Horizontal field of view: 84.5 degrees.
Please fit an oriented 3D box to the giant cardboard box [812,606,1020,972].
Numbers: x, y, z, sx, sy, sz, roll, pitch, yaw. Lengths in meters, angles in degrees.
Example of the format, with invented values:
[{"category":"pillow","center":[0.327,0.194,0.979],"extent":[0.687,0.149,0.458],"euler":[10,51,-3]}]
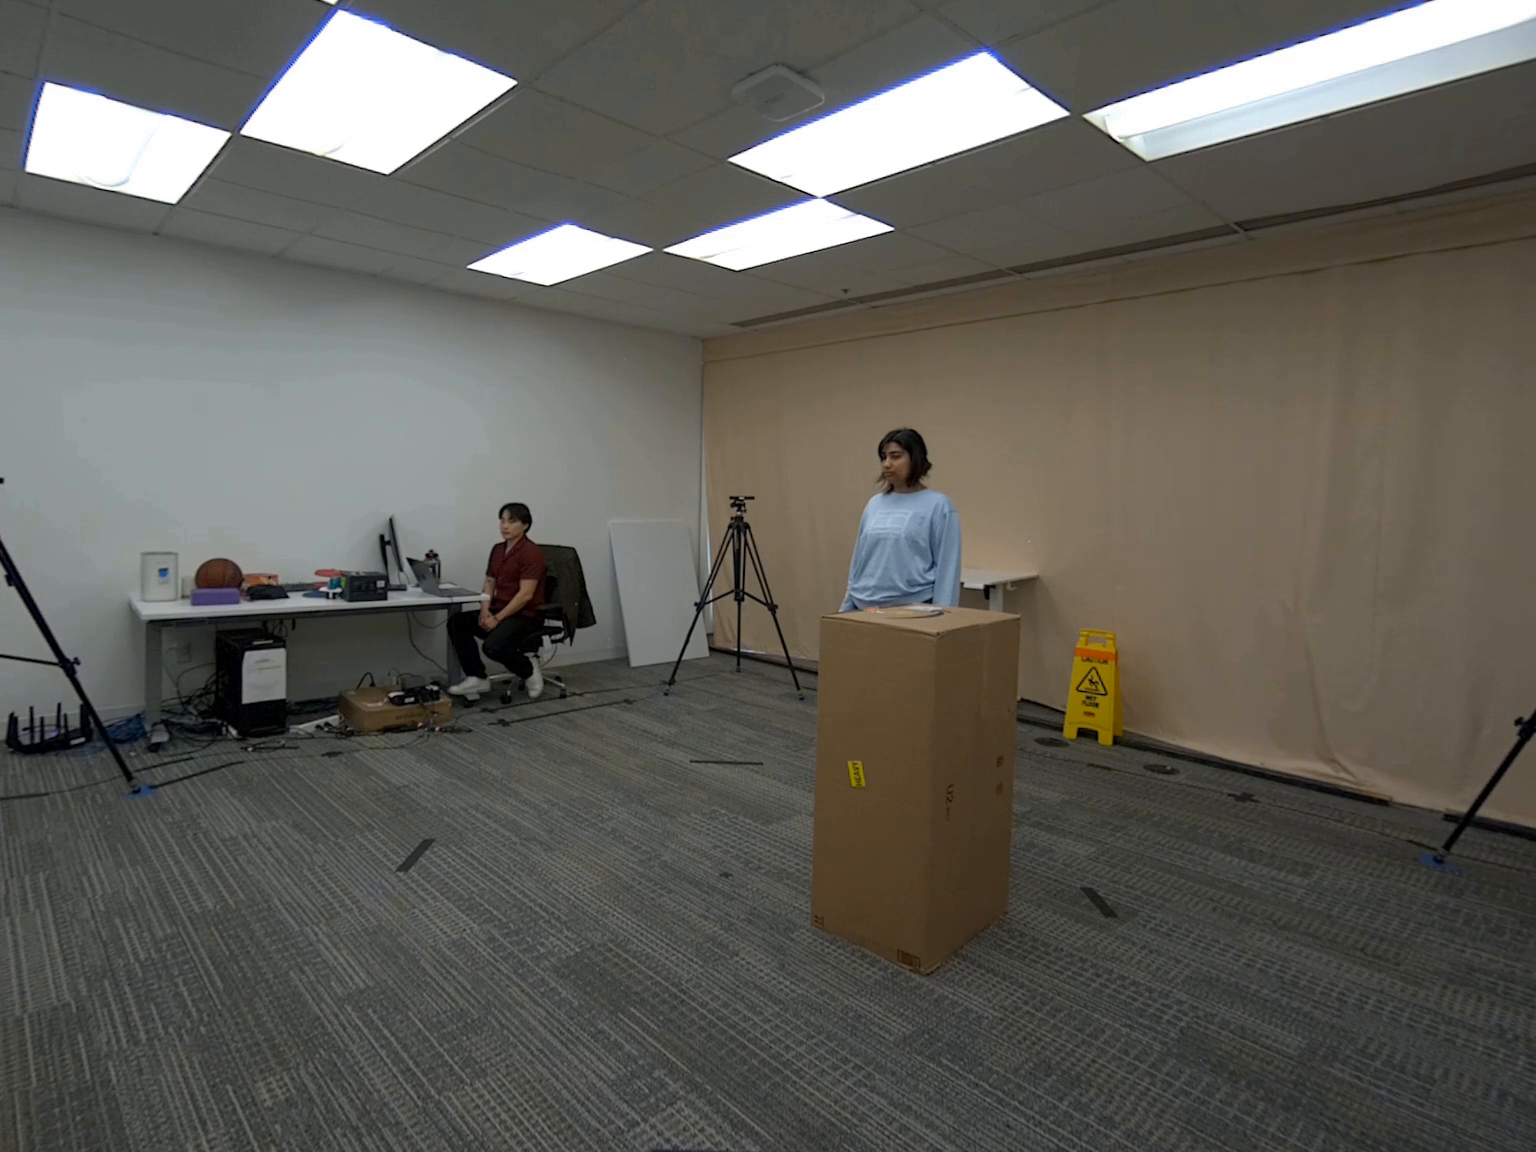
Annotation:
[{"category":"giant cardboard box","center":[0.487,0.637,2.795],"extent":[0.458,1.024,0.571],"euler":[4,5,42]}]
